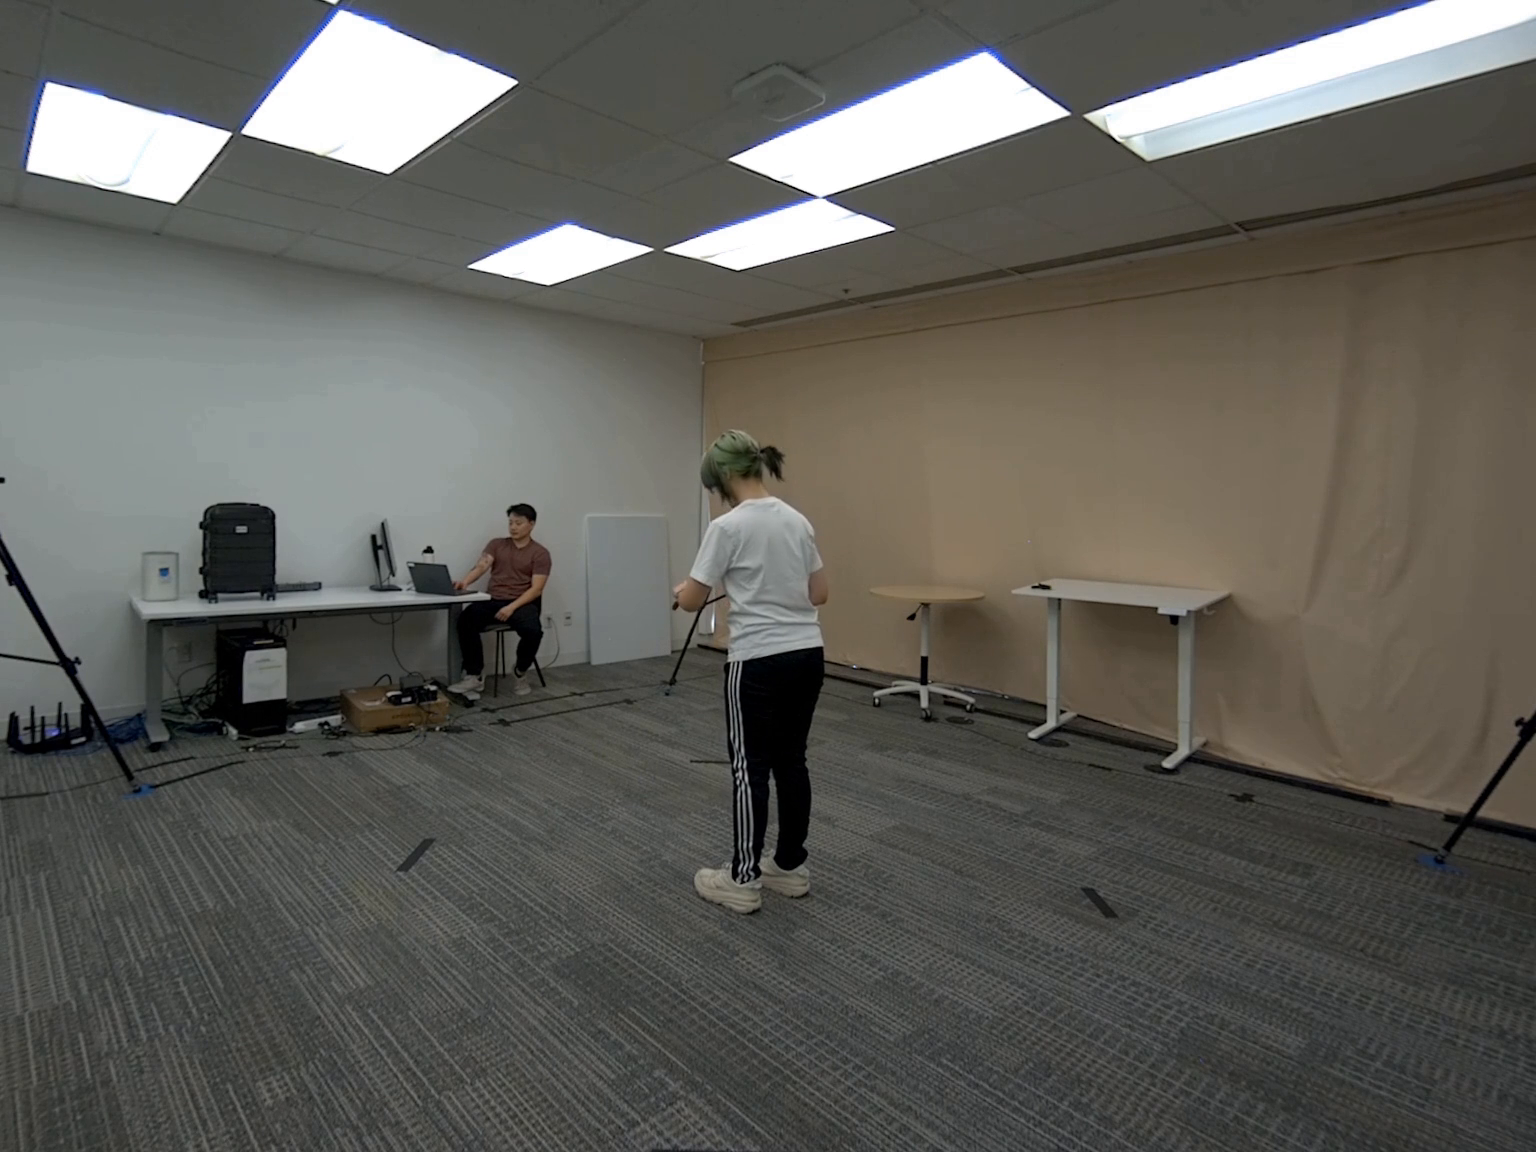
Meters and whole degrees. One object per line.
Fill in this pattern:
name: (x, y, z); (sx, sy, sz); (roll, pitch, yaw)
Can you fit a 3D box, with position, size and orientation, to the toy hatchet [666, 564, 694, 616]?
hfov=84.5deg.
toy hatchet: (-0.301, 0.029, 3.168); (0.030, 0.130, 0.271); (25, 26, 3)
